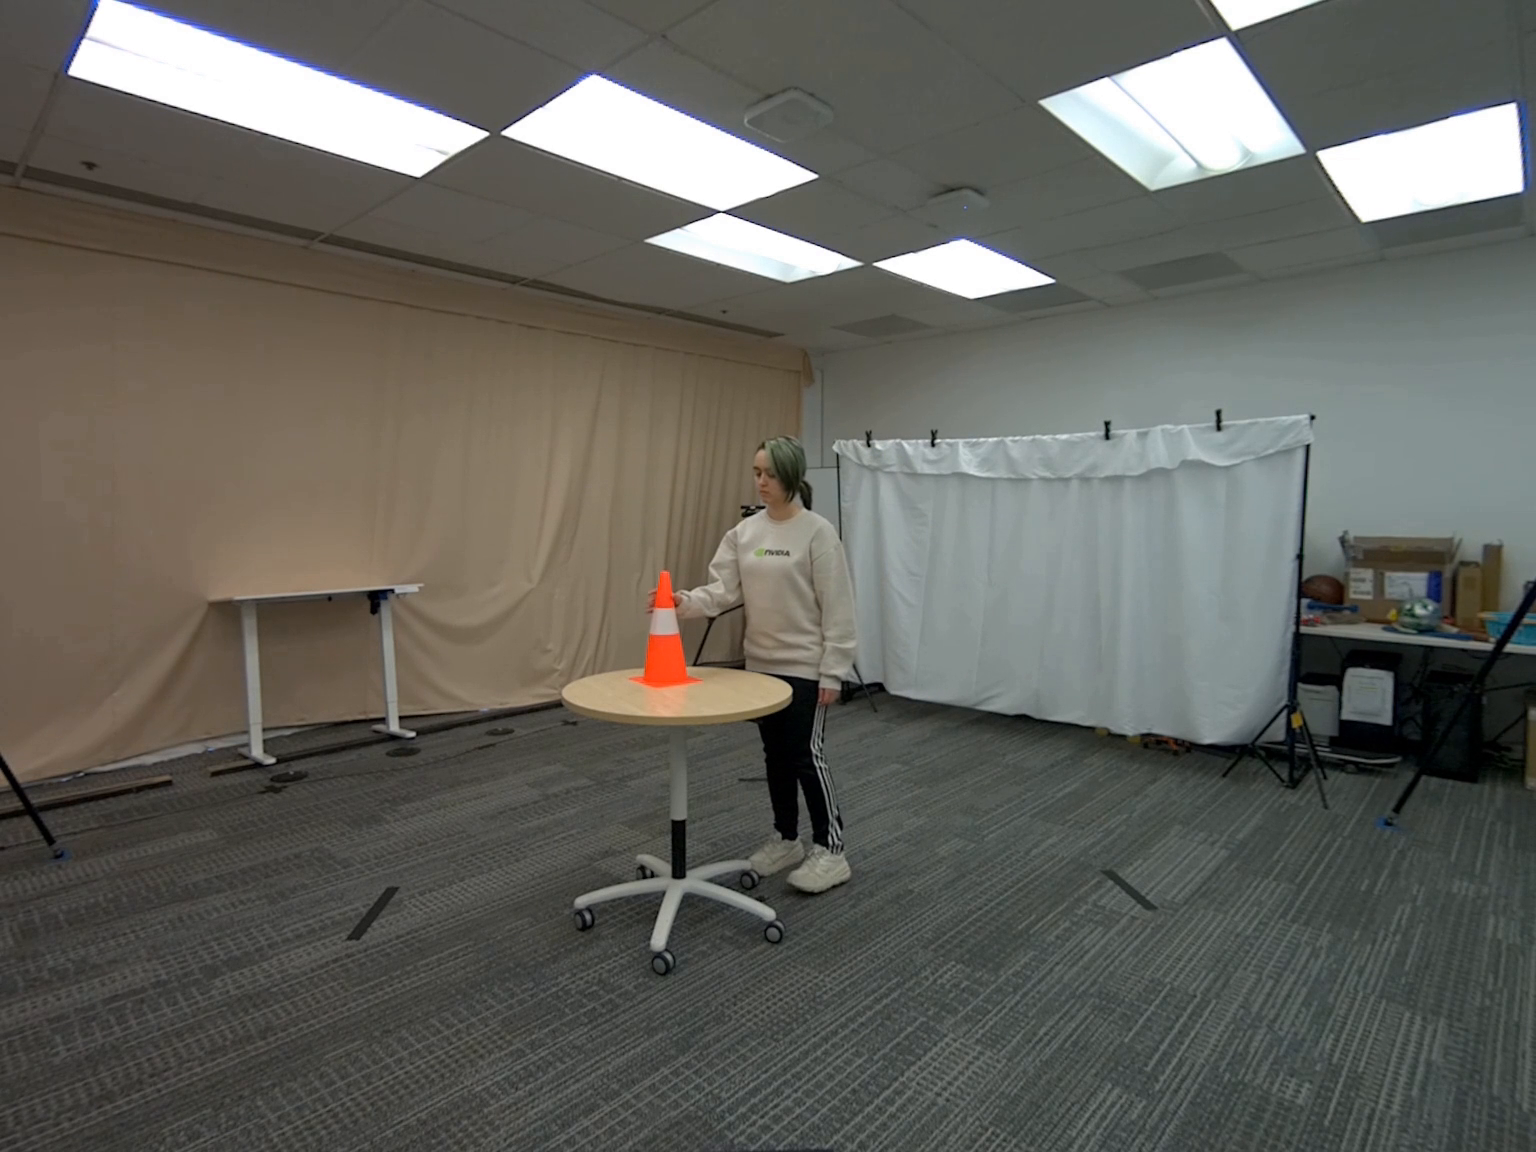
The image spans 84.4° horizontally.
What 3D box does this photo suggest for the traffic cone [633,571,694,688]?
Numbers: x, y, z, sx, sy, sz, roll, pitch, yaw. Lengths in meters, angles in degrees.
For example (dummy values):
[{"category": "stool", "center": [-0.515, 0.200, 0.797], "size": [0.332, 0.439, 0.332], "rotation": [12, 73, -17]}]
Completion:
[{"category": "traffic cone", "center": [-0.361, 0.178, 2.948], "size": [0.212, 0.383, 0.197], "rotation": [1, 3, 41]}]
